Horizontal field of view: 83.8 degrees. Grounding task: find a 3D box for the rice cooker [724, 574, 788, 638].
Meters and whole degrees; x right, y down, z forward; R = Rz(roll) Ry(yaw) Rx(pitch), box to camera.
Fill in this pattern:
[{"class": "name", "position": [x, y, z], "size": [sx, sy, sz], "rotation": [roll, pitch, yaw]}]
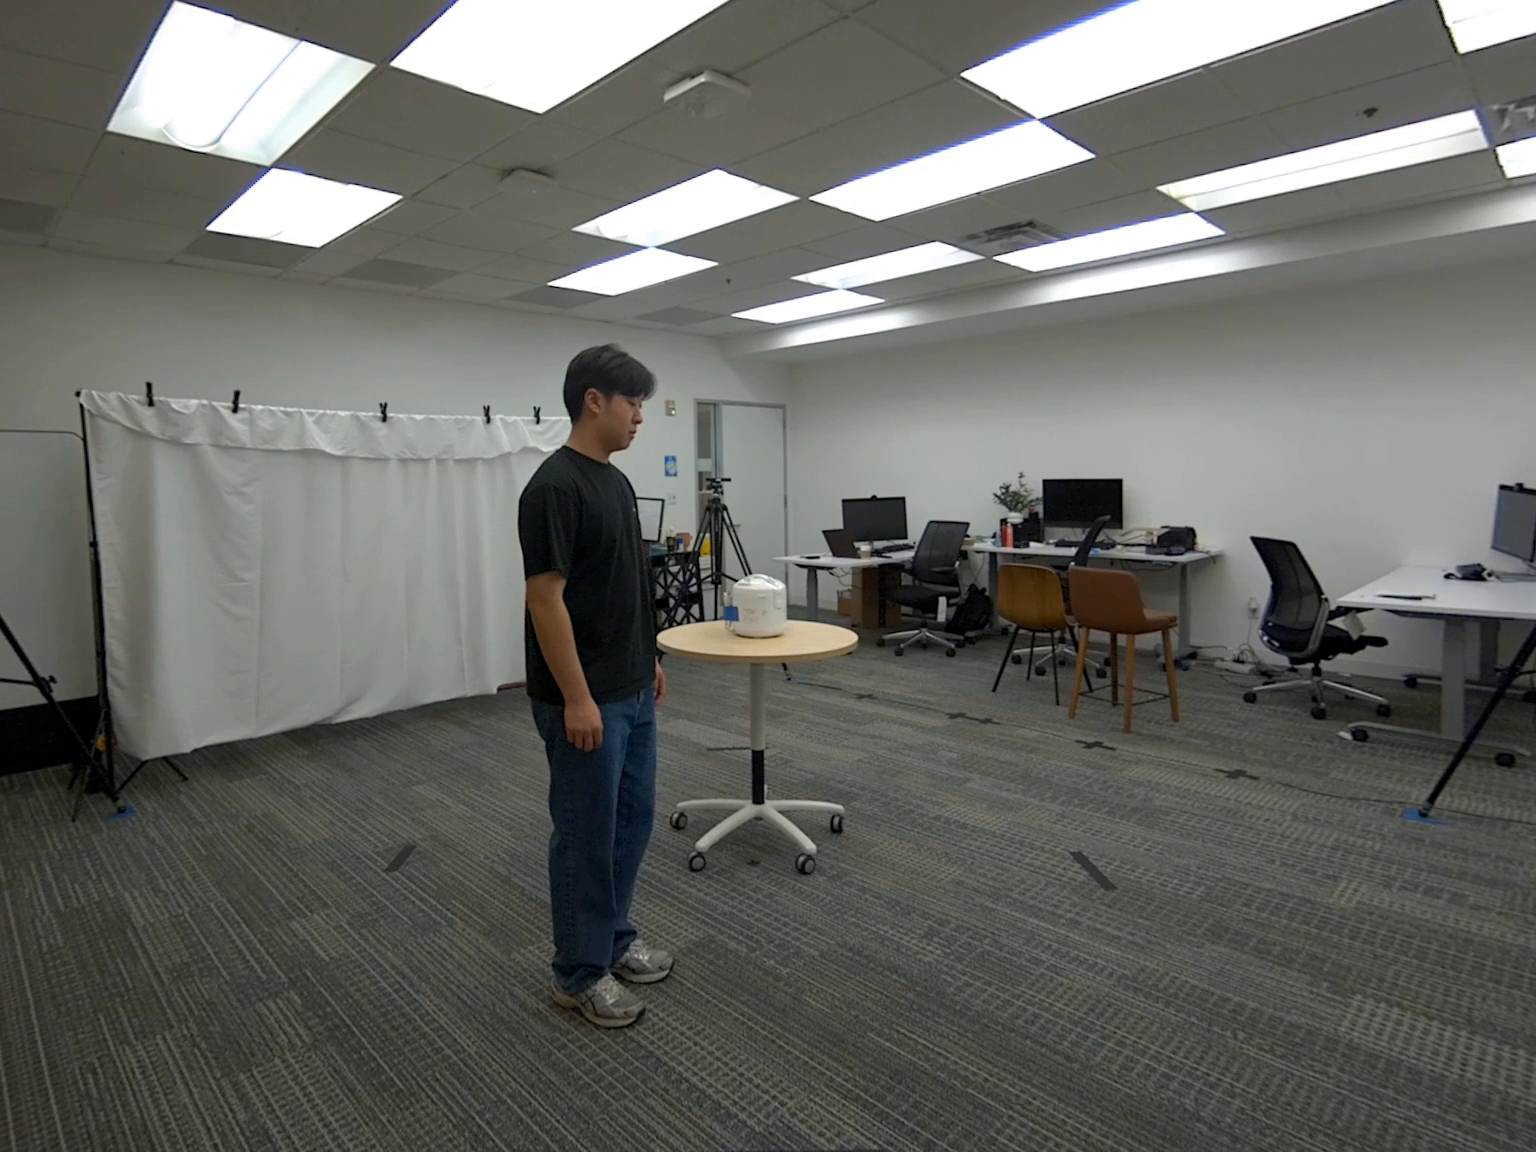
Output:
[{"class": "rice cooker", "position": [-0.032, 0.108, 3.289], "size": [0.212, 0.232, 0.227], "rotation": [-6, 8, -43]}]
